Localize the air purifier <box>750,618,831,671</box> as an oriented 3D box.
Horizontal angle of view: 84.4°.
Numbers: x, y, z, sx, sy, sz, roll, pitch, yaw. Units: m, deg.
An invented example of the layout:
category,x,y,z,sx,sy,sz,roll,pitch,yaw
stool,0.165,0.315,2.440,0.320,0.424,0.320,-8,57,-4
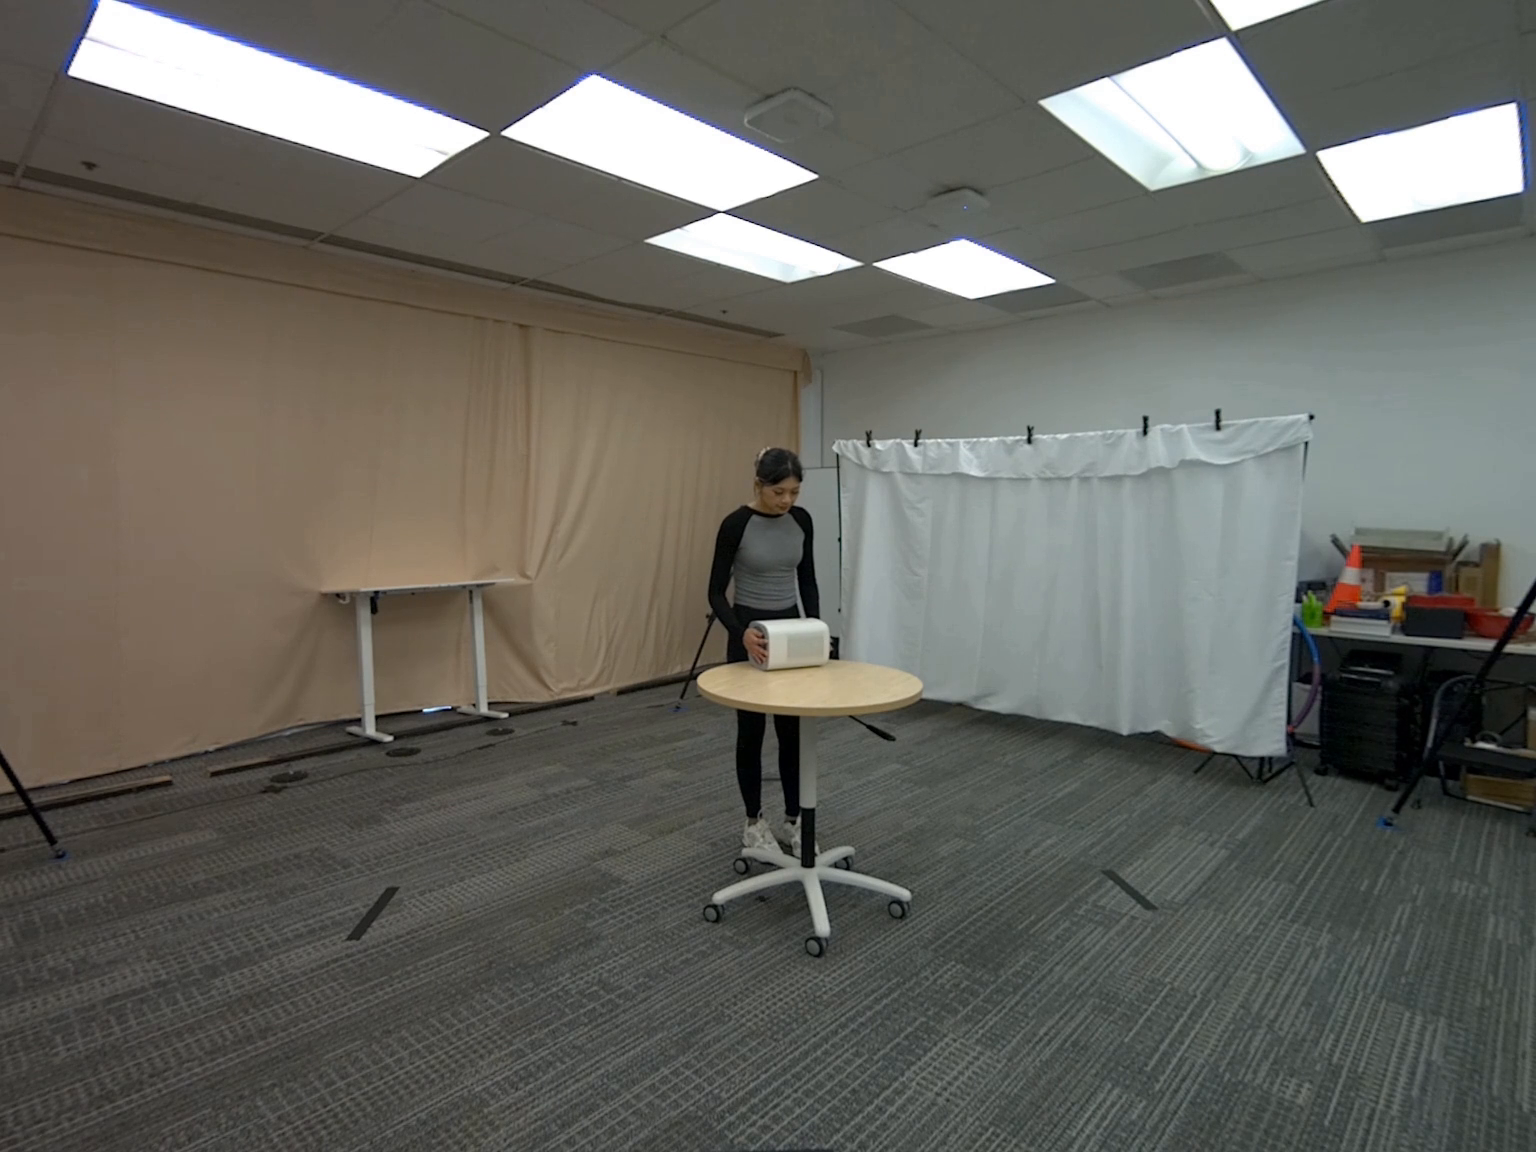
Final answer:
category,x,y,z,sx,sy,sz,roll,pitch,yaw
air purifier,0.081,0.249,3.120,0.259,0.171,0.175,-1,4,-24
